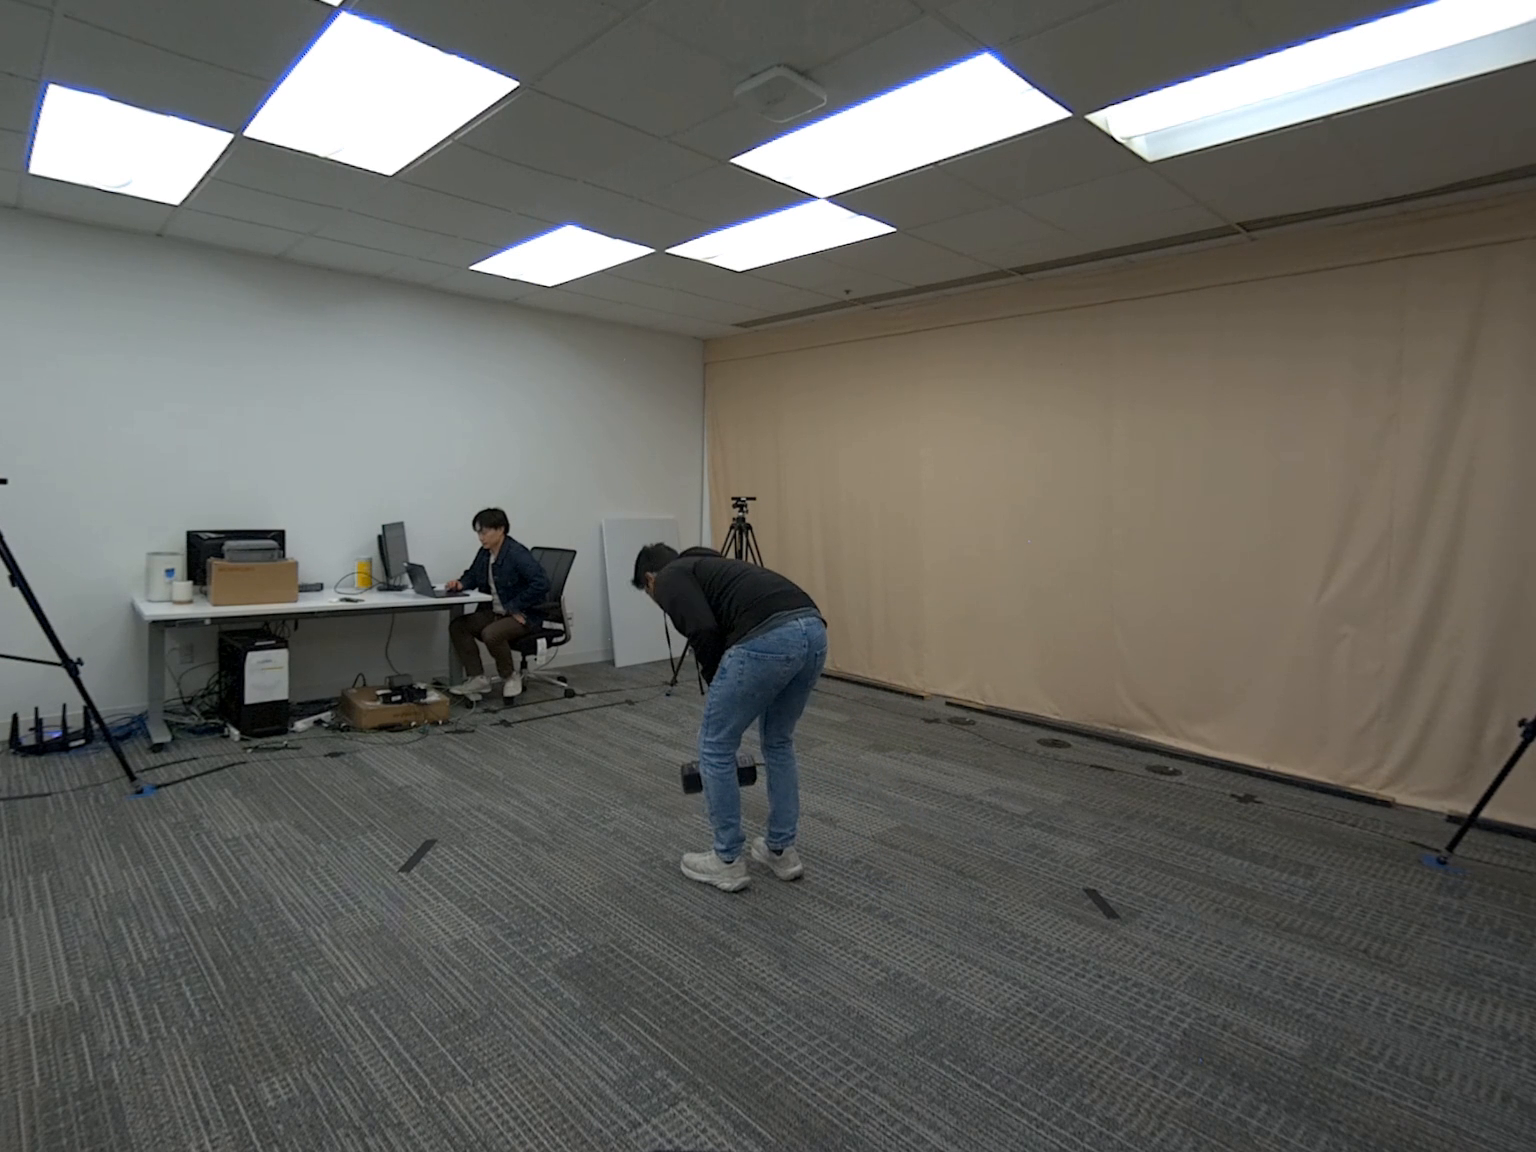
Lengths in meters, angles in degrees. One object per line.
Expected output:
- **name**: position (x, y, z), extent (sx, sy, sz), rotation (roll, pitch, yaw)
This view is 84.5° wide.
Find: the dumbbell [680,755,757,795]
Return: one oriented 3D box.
- **dumbbell**: position (-0.206, 0.782, 3.329), extent (0.292, 0.123, 0.109), rotation (-3, -5, -7)
